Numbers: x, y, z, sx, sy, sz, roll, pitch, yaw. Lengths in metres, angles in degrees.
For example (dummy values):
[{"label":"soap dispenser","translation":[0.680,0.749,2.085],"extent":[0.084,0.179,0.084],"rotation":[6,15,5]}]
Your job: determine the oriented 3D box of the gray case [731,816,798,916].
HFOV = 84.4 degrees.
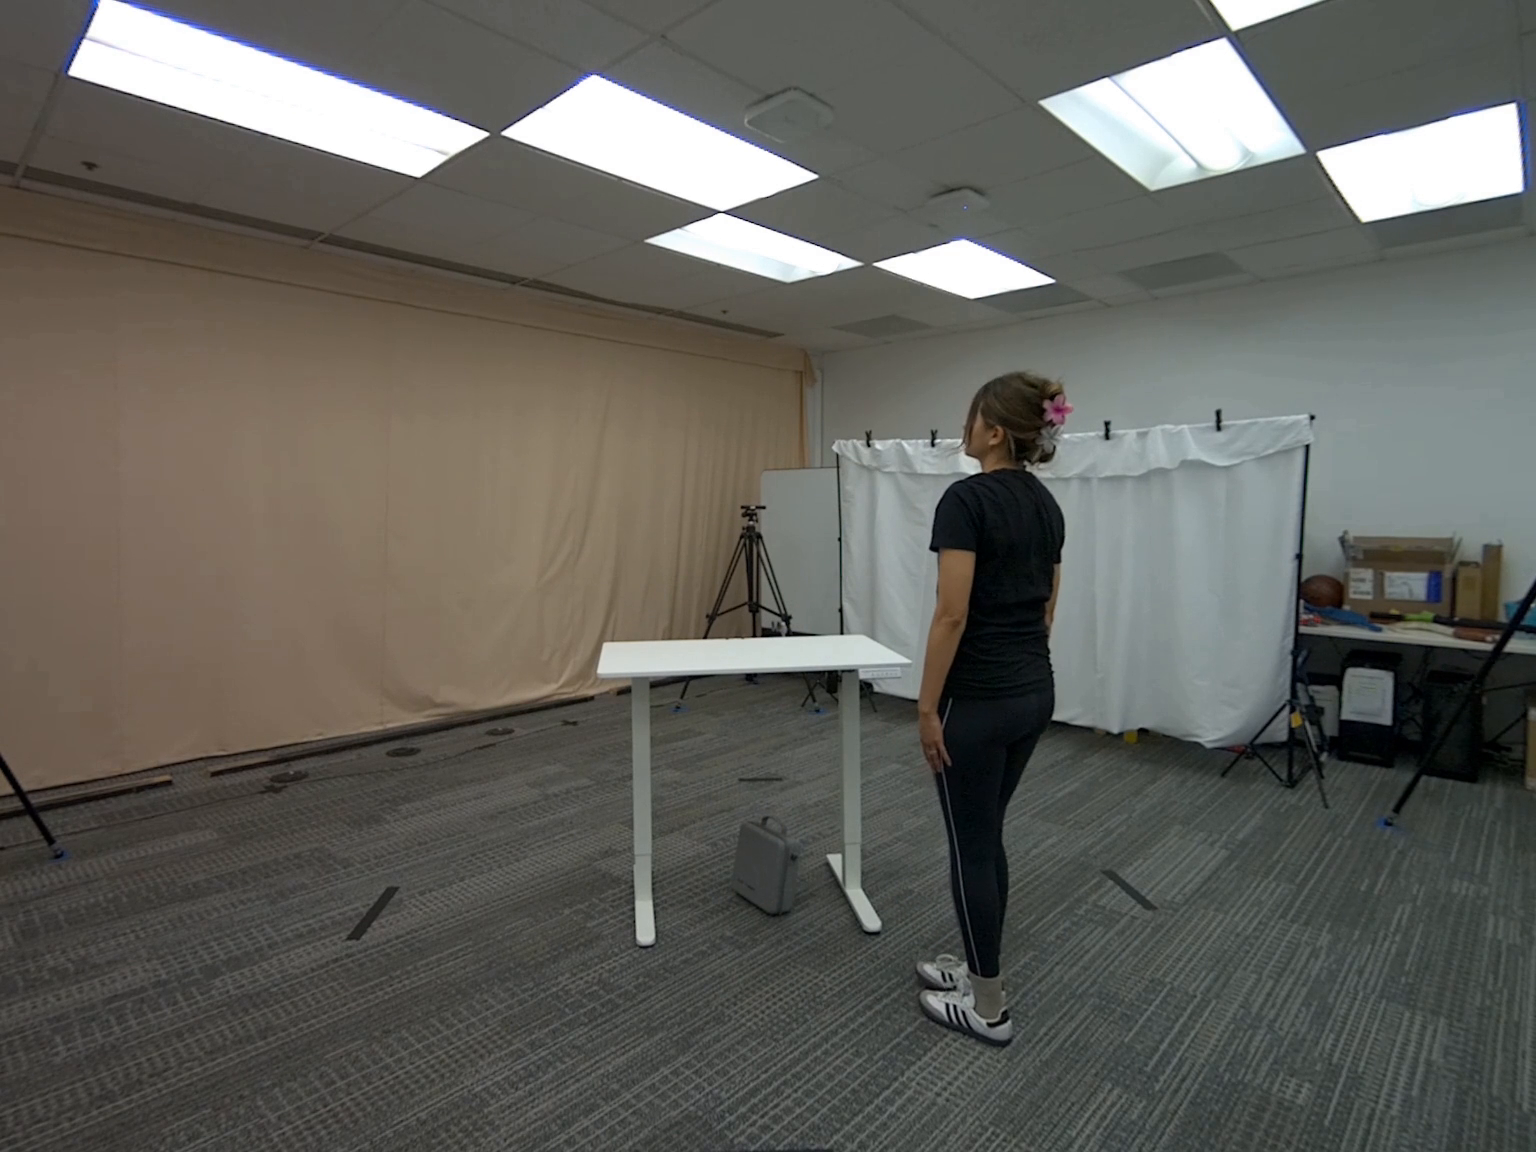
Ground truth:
[{"label":"gray case","translation":[-0.005,1.016,2.961],"extent":[0.101,0.261,0.265],"rotation":[10,-2,-35]}]
